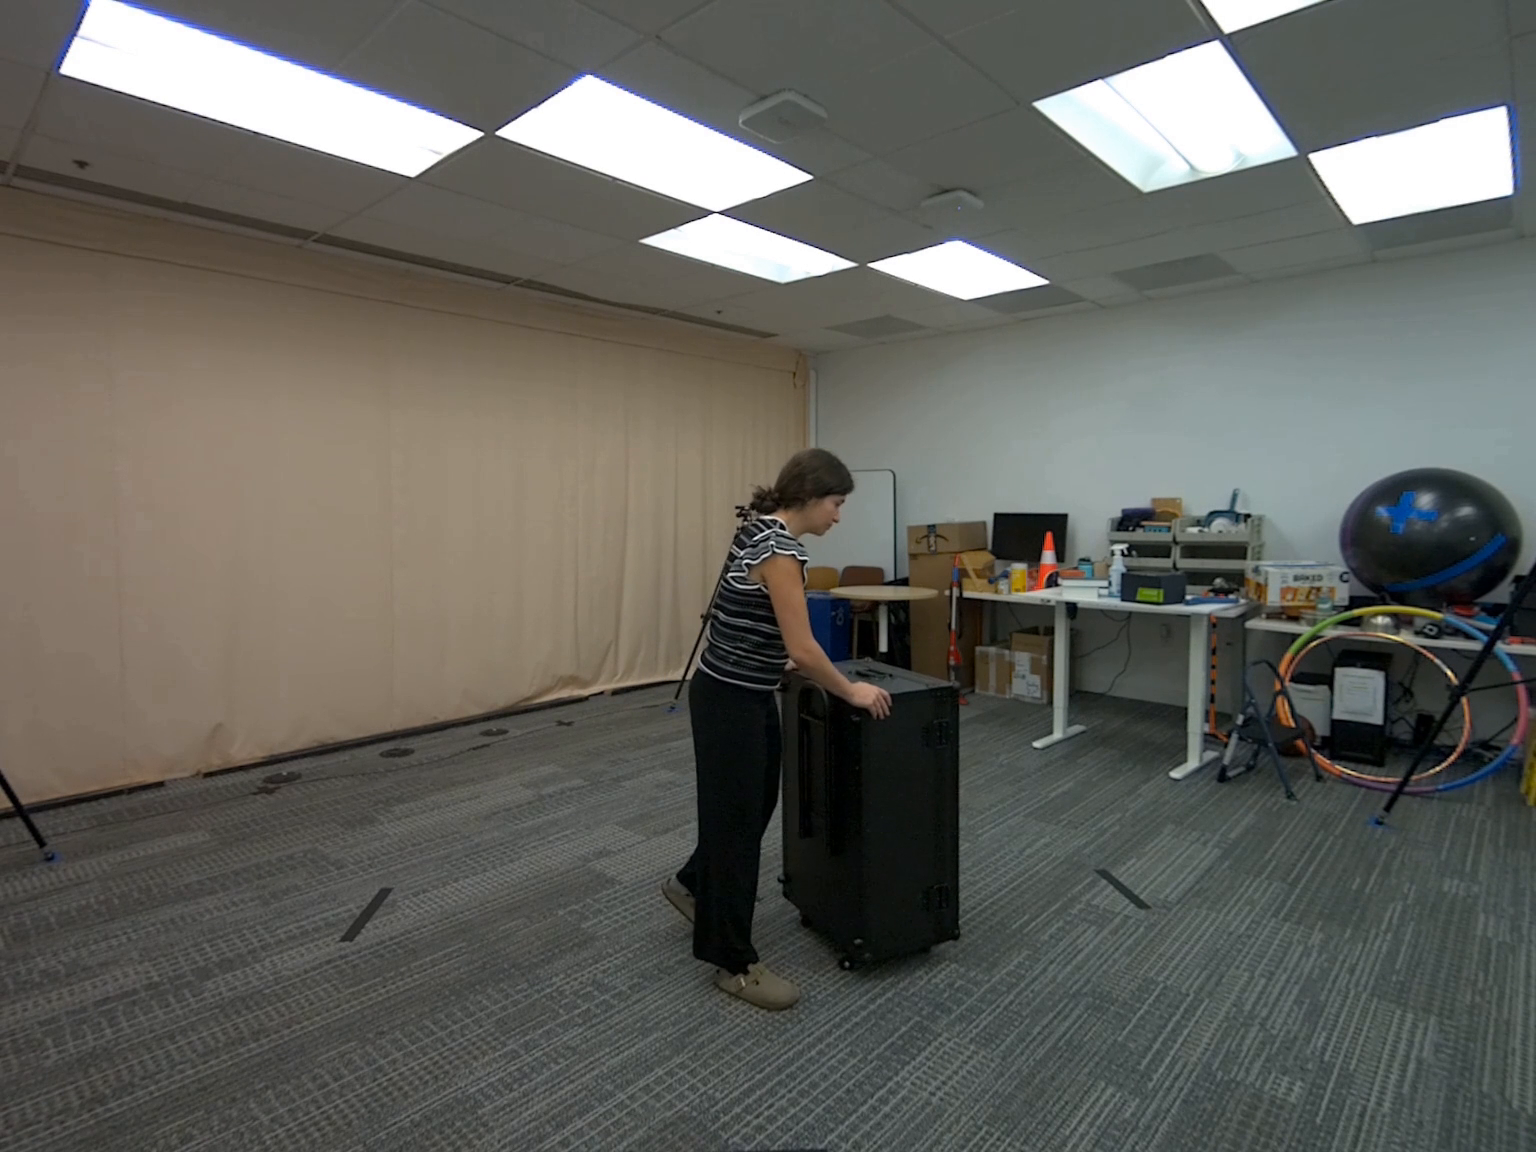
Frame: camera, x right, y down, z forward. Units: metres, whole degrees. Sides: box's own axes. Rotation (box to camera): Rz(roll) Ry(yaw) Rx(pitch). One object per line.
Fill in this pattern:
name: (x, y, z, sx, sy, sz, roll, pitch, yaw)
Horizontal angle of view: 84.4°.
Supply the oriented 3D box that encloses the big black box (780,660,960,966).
big black box: (0.313, 0.741, 2.687, 0.387, 0.859, 0.535, -3, 4, -26)
